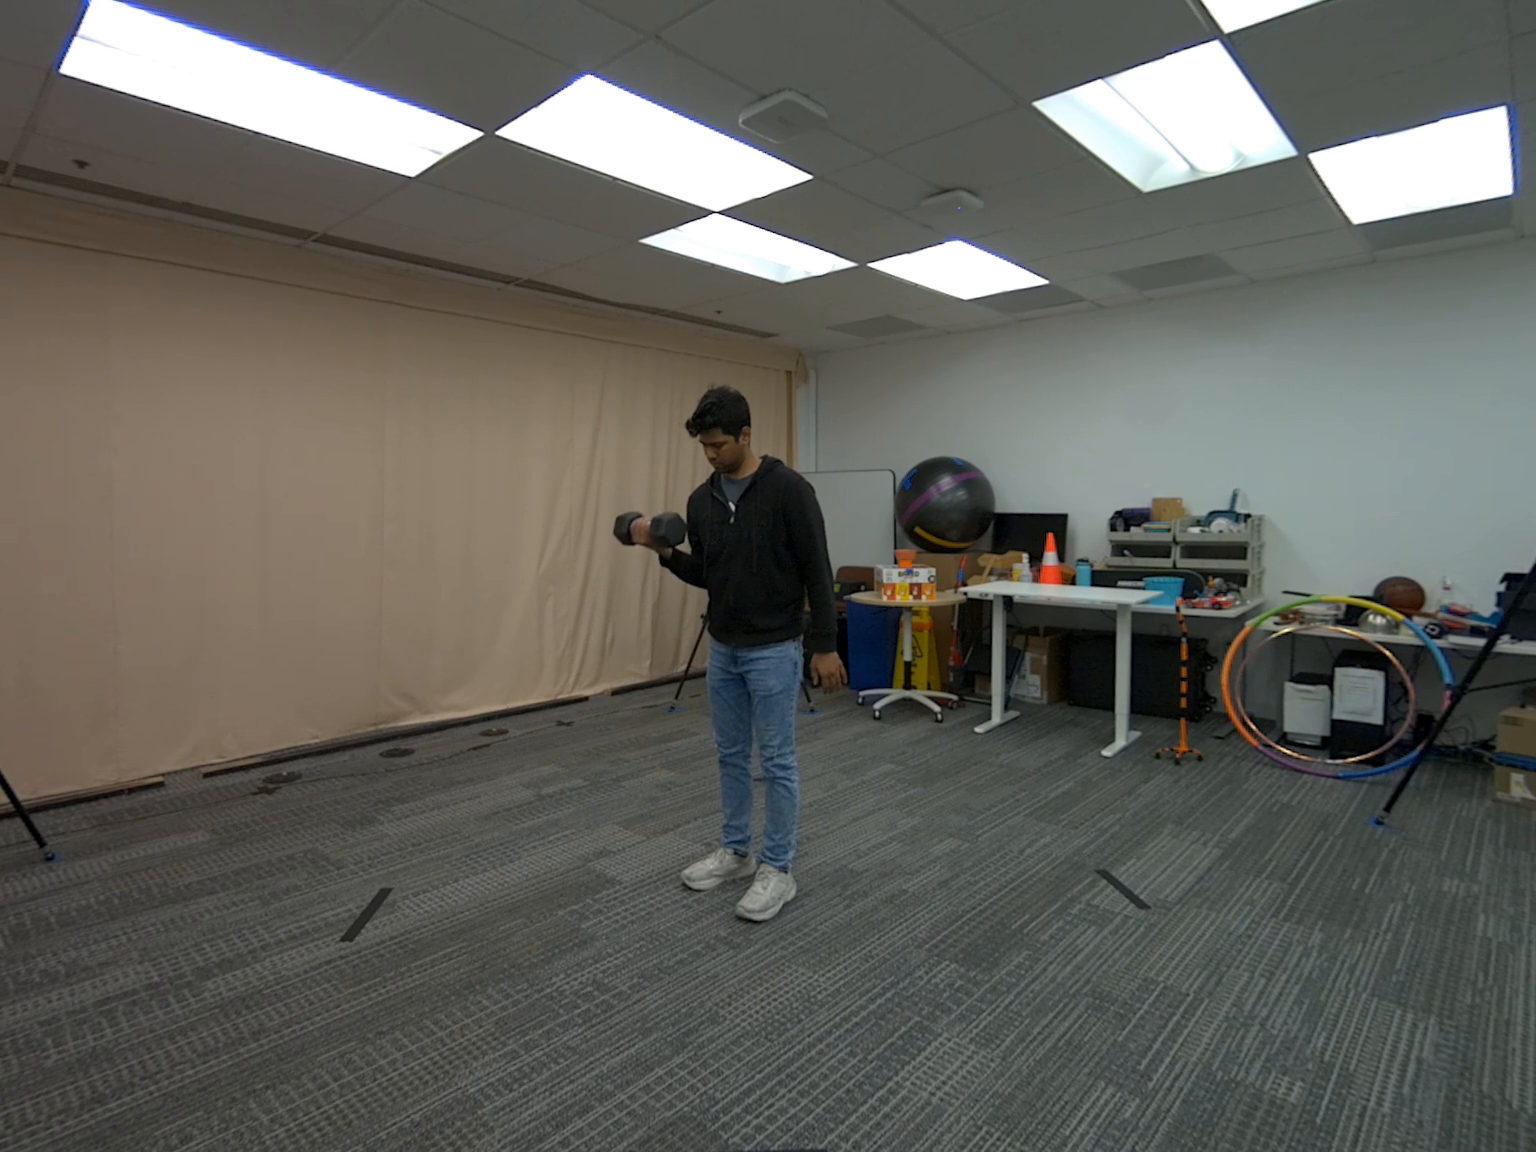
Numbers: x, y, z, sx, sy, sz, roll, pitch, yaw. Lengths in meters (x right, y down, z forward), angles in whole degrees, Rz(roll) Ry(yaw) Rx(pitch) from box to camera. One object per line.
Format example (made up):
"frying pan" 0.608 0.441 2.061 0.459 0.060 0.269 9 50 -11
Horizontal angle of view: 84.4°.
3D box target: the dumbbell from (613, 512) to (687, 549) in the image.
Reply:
"dumbbell" -0.396 -0.144 2.882 0.303 0.108 0.119 6 -39 47
